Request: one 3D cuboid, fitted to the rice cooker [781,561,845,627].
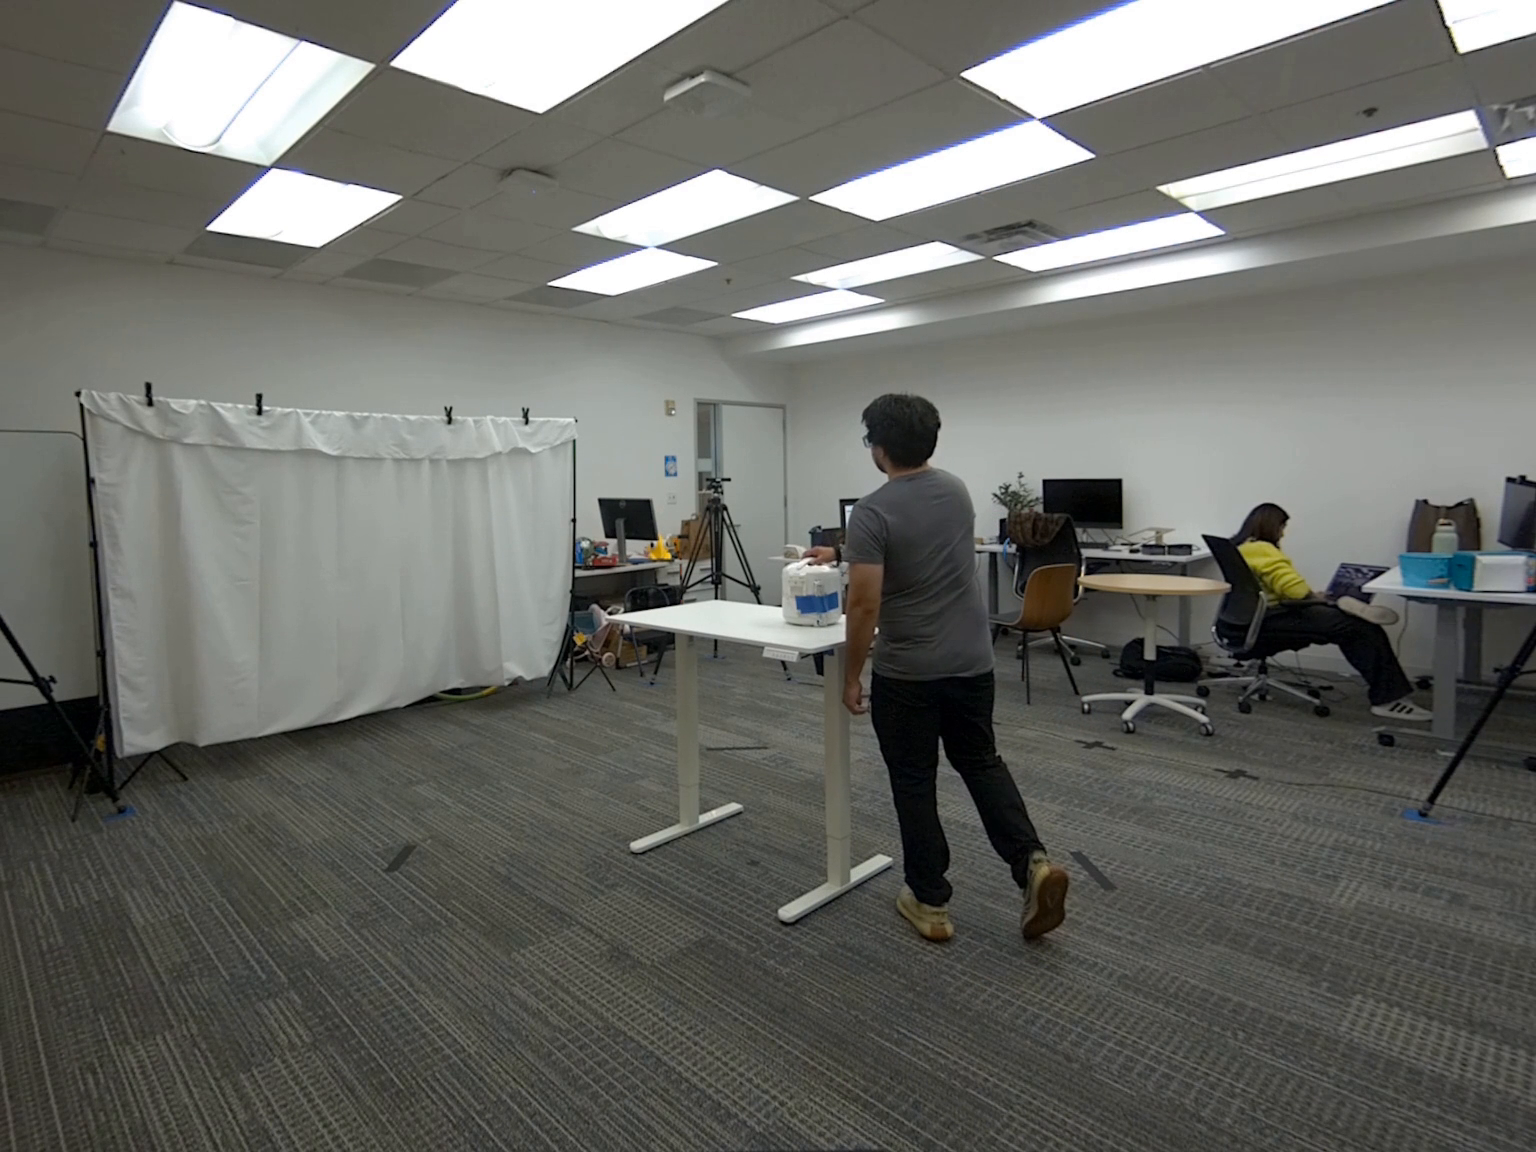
[{"bbox_3d":[0.154,0.051,3.001,0.224,0.232,0.215,3,5,34],"label":"rice cooker"}]
